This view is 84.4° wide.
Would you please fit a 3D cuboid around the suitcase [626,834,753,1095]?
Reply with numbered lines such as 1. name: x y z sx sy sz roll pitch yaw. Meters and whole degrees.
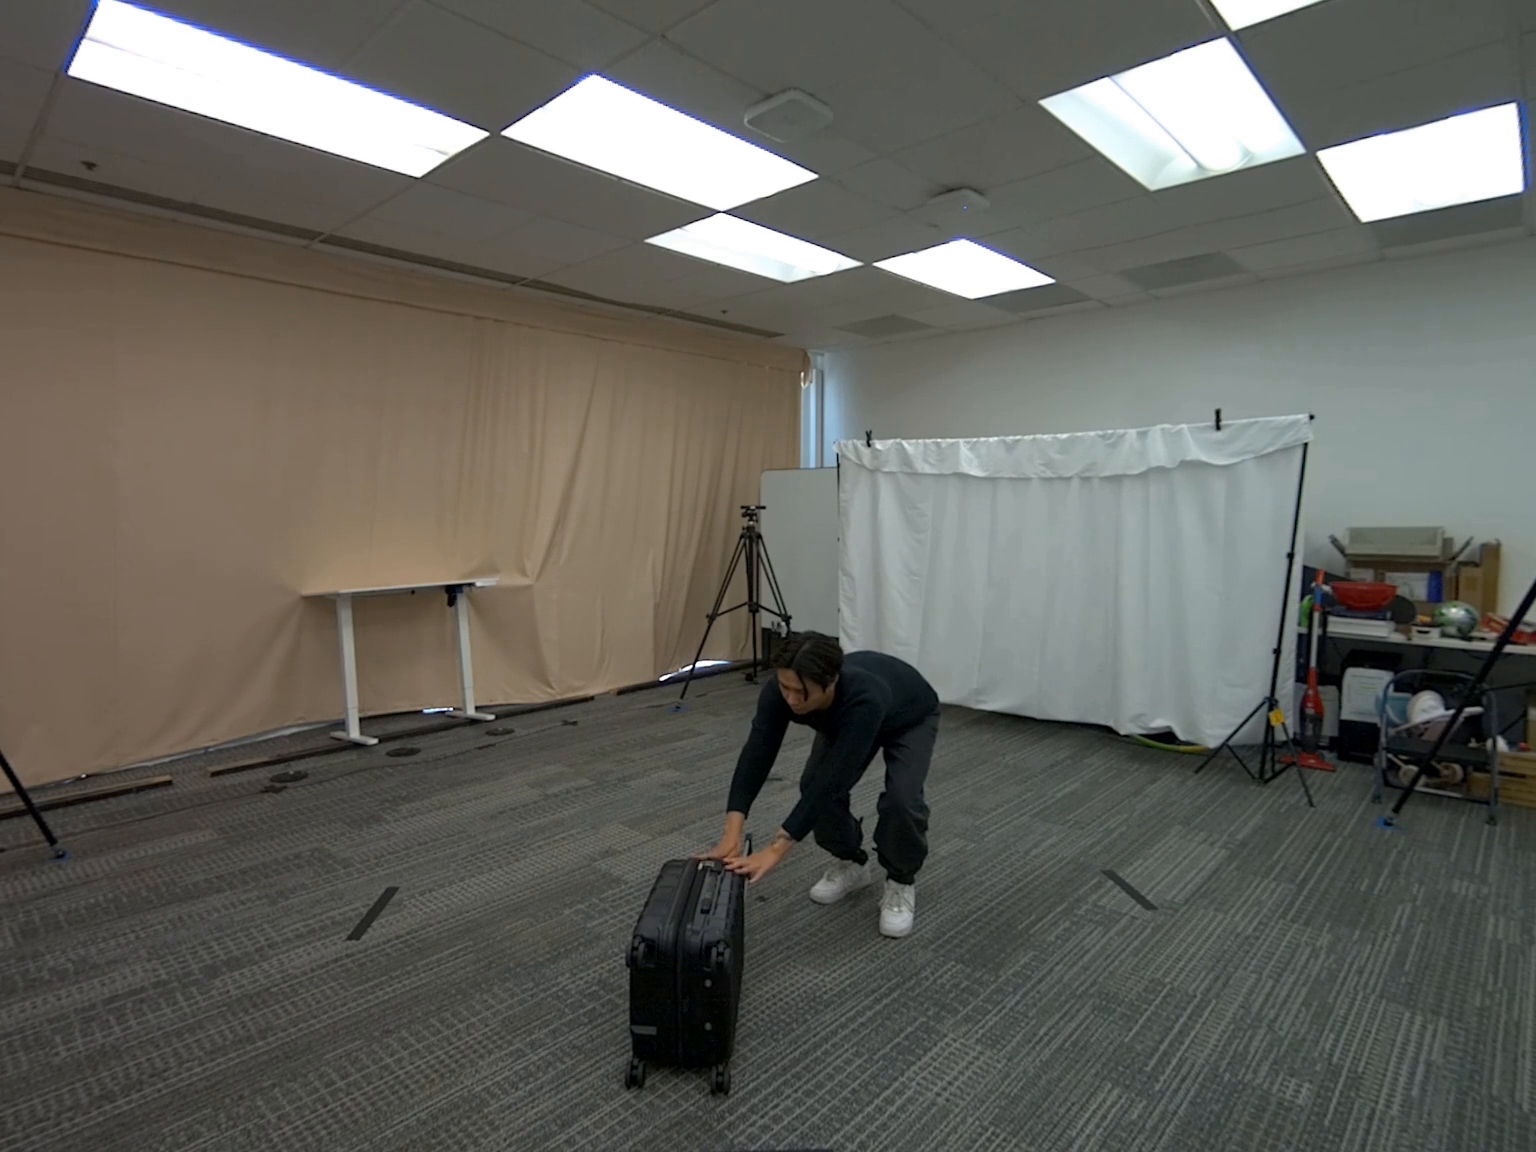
1. suitcase: -0.198 1.003 2.459 0.258 0.383 0.977 1 5 2
